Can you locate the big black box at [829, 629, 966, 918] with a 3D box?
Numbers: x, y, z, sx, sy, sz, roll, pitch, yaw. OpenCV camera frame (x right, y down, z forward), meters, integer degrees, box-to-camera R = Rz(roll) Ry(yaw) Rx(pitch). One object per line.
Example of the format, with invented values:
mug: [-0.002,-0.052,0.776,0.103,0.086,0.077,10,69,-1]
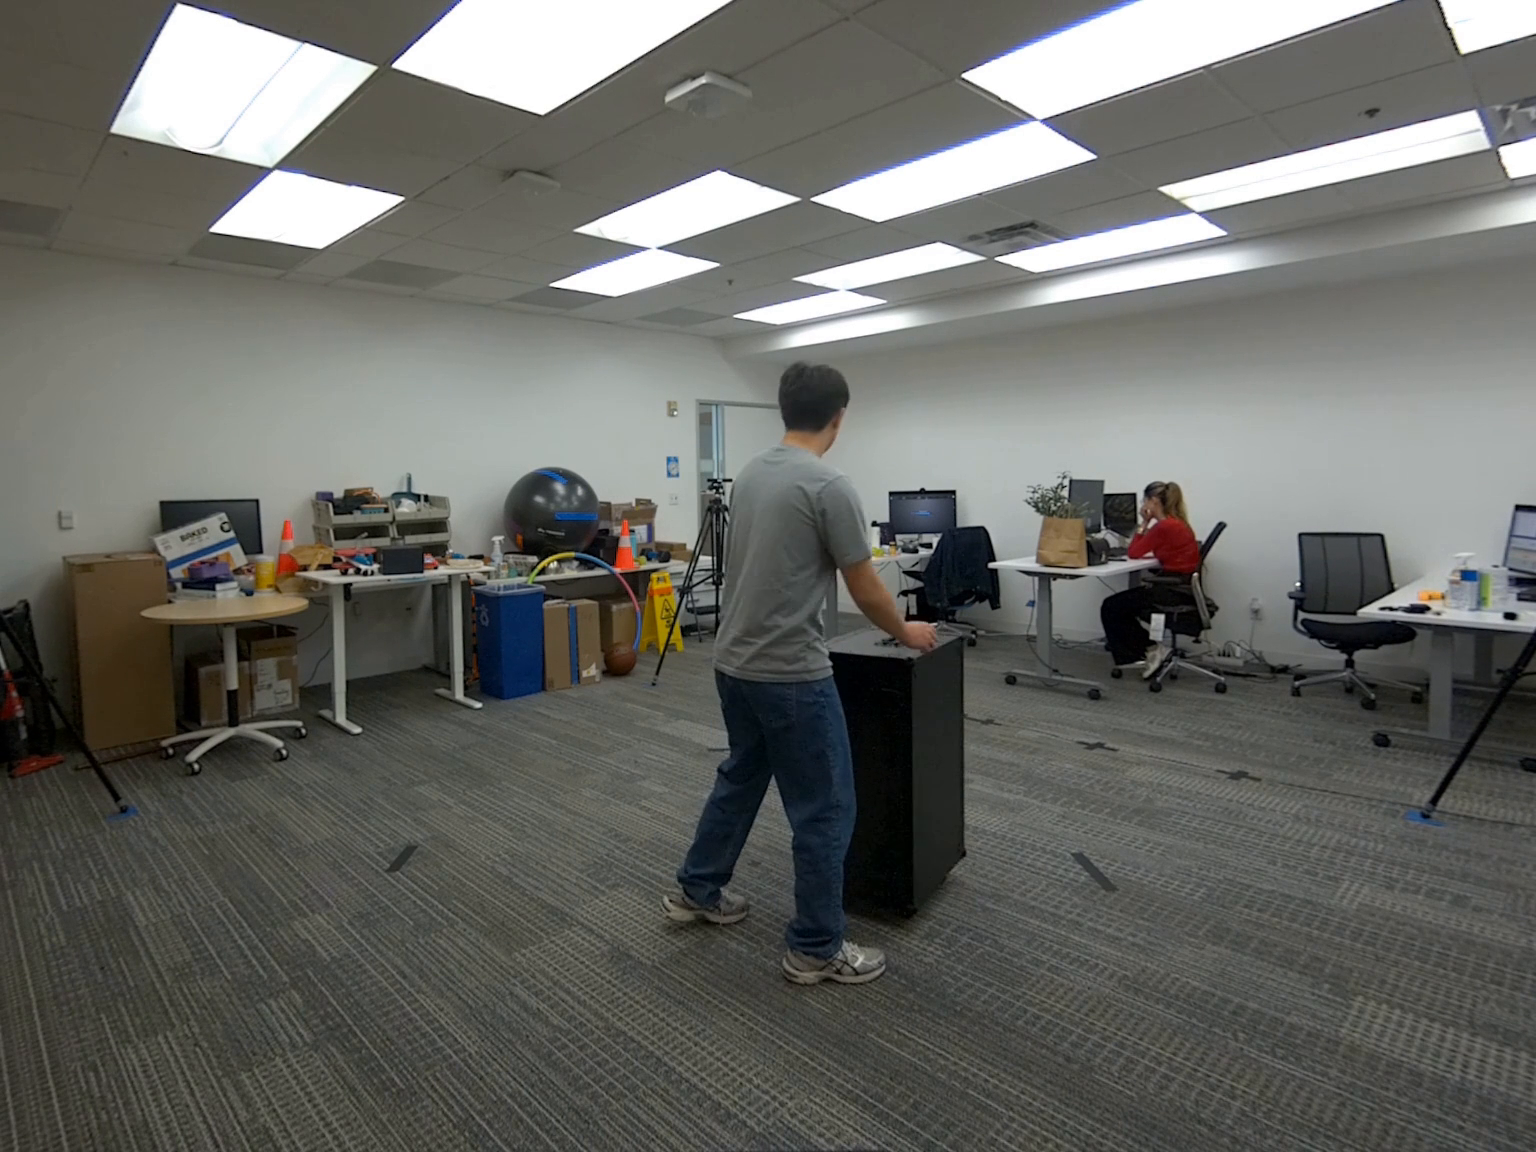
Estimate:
big black box: [0.406,0.643,2.863,0.407,0.858,0.509,1,5,33]
